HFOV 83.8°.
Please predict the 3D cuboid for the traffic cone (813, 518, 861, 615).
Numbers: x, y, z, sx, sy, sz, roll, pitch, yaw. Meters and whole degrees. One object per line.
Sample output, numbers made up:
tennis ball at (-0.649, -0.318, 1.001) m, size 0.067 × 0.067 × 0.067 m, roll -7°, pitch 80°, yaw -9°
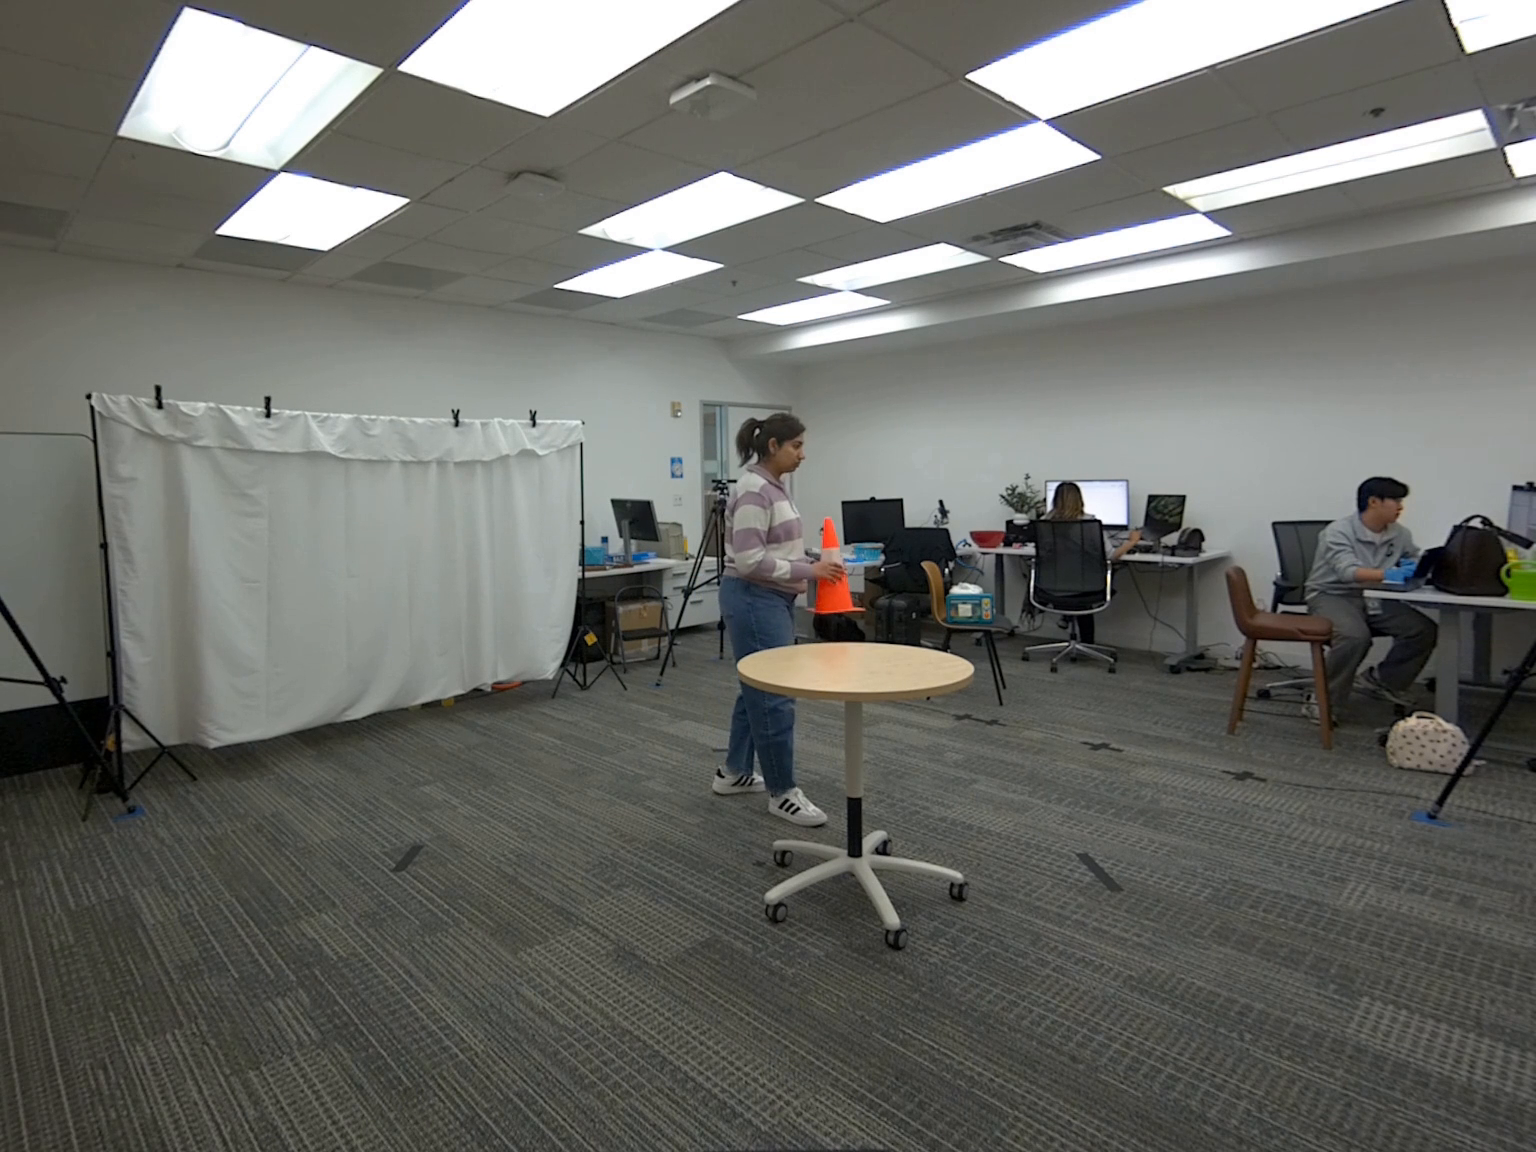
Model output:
traffic cone at (0.254, -0.042, 3.538) m, size 0.200 × 0.383 × 0.208 m, roll -6°, pitch 3°, yaw -31°
